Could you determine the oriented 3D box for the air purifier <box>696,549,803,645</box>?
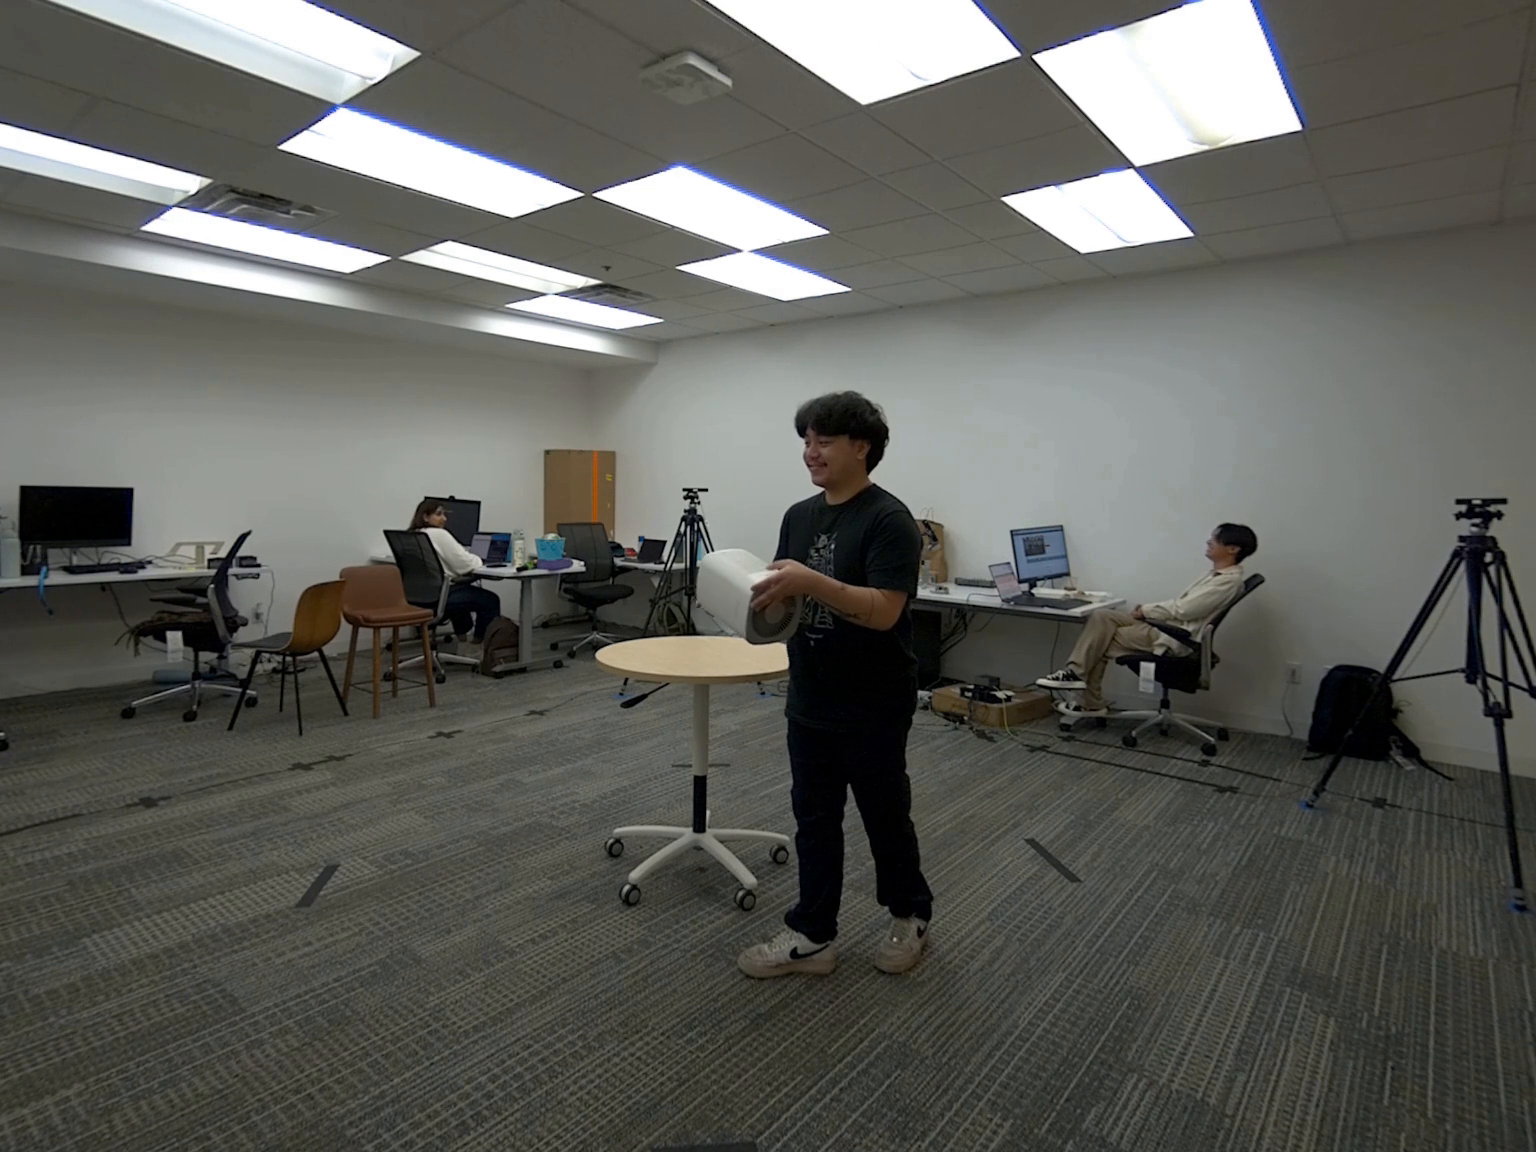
[{"bbox_3d":[-0.064,0.046,2.241,0.167,0.168,0.276,-6,23,-34],"label":"air purifier"}]
